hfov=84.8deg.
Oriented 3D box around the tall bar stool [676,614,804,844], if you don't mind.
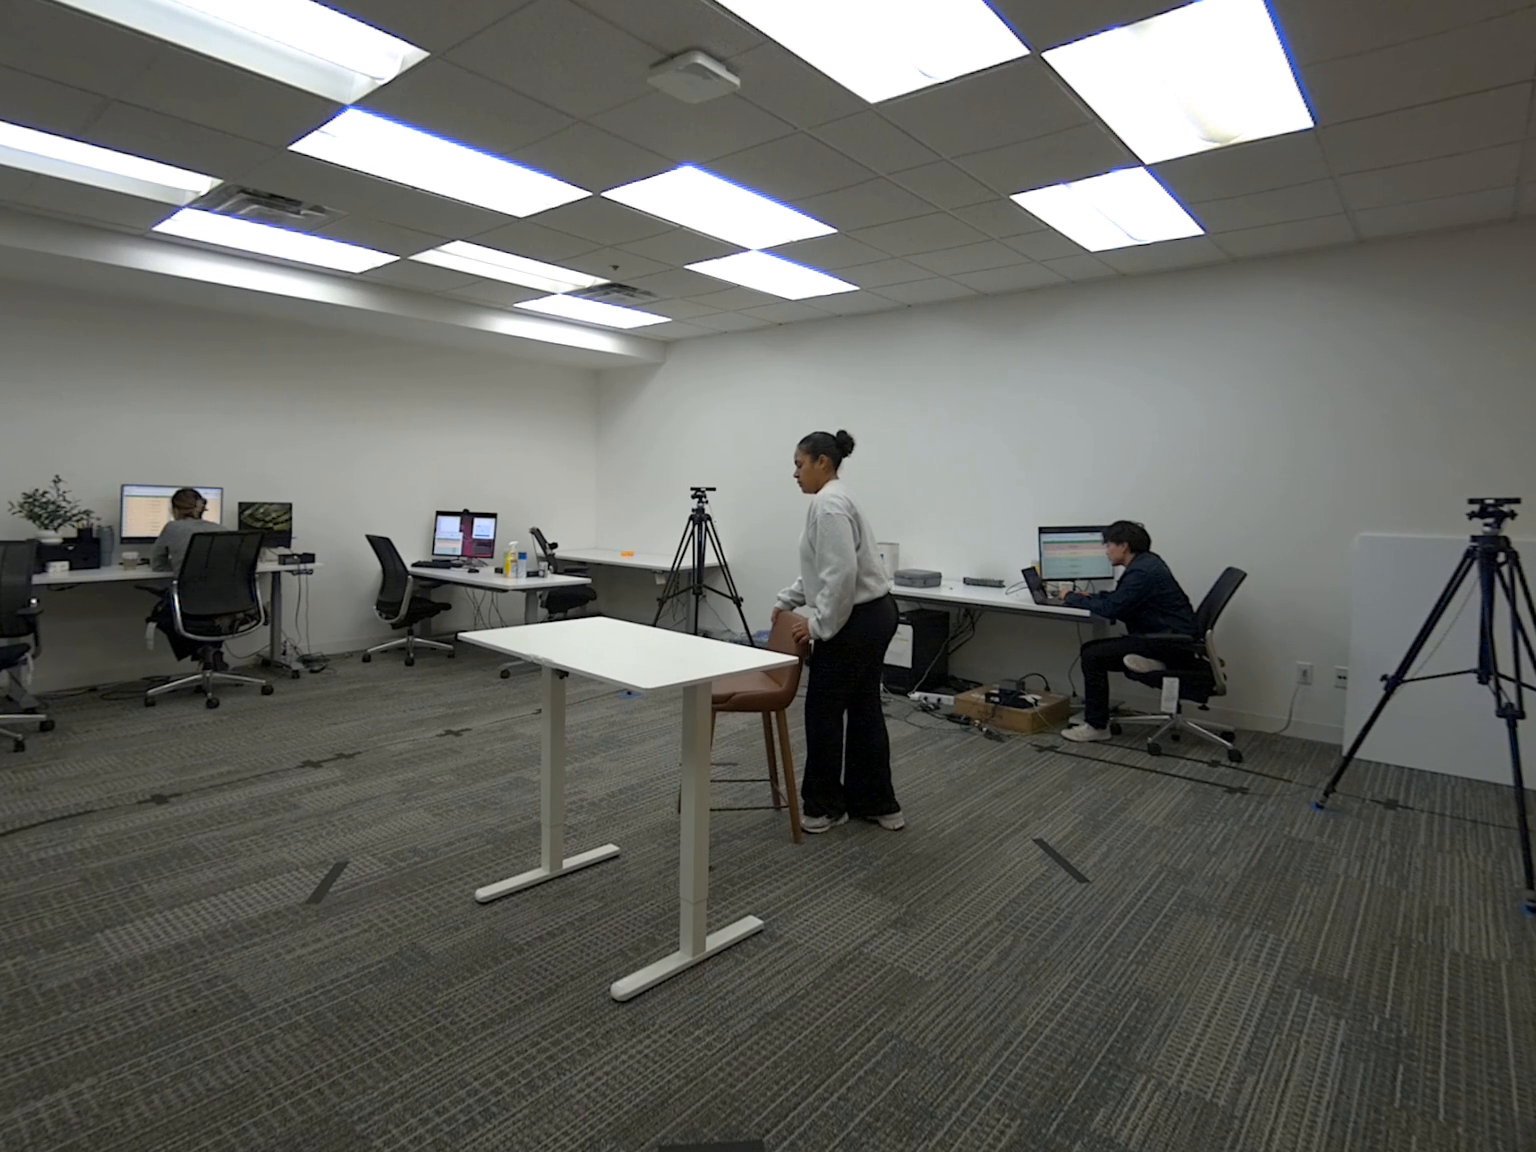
[{"bbox_3d":[-0.116,0.591,3.475,0.462,0.887,0.464,3,4,-12],"label":"tall bar stool"}]
